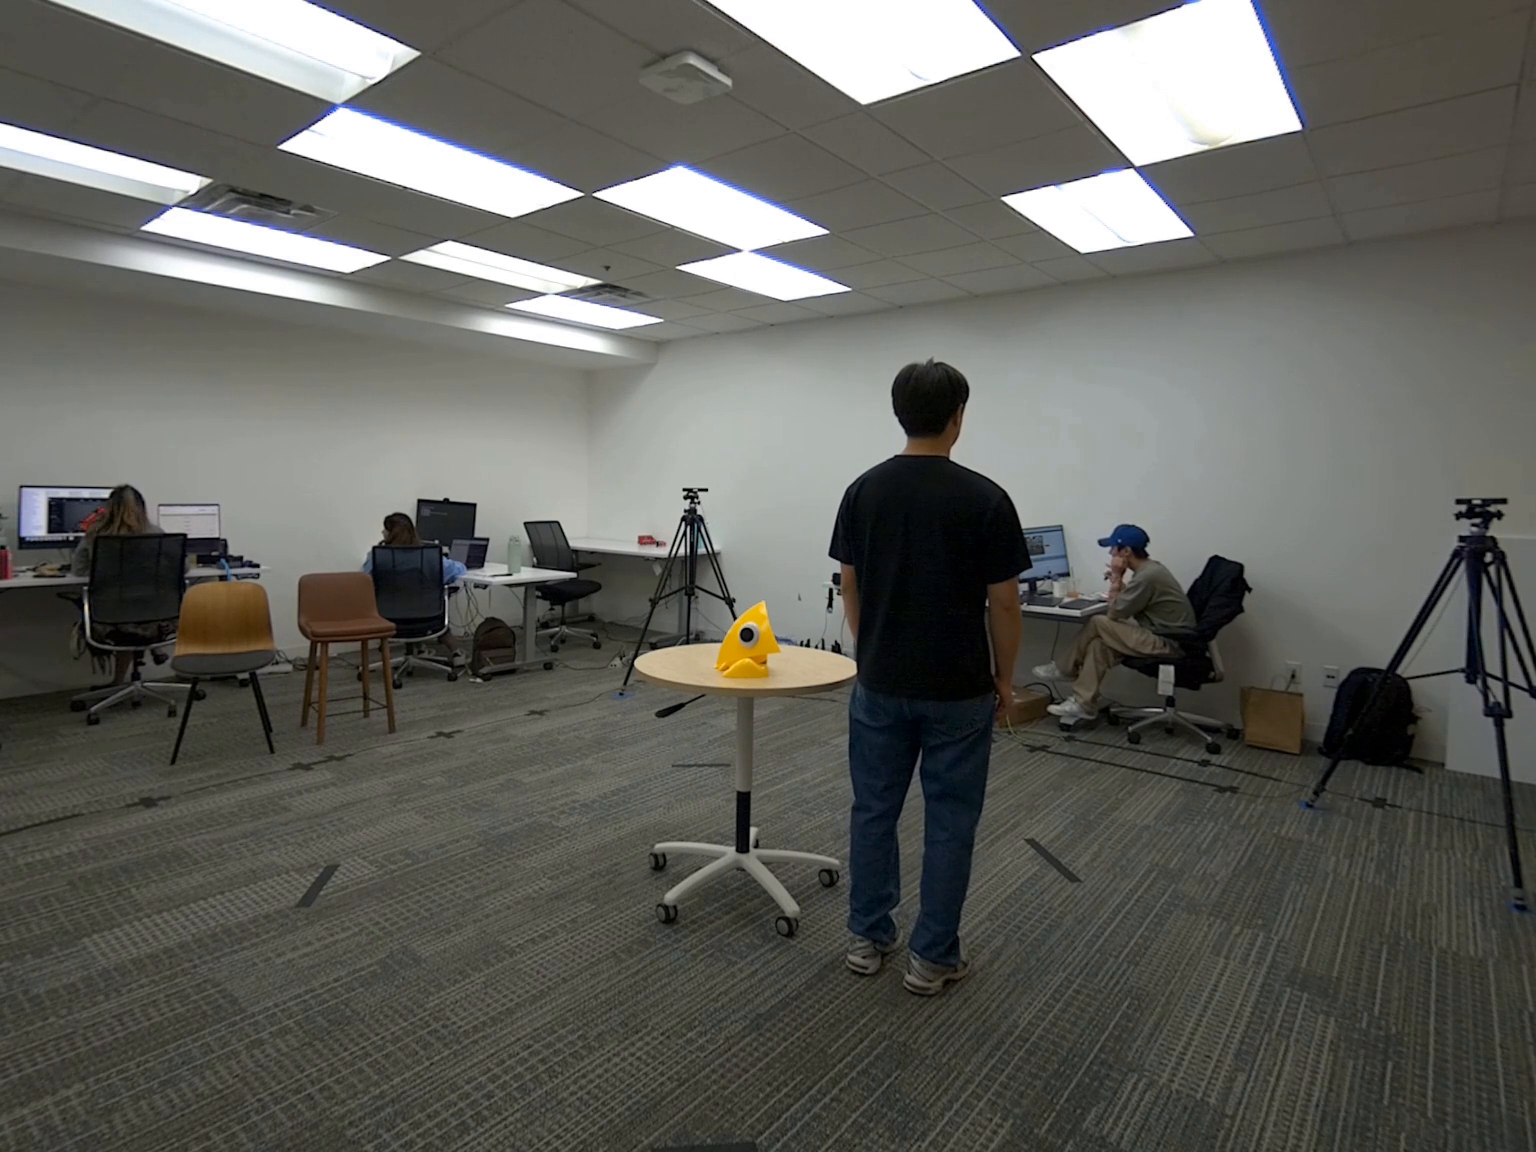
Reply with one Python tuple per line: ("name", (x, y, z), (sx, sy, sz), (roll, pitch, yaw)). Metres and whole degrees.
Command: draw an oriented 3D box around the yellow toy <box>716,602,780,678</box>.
("yellow toy", (-0.080, 0.194, 2.764), (0.190, 0.230, 0.208), (1, 3, -15))
